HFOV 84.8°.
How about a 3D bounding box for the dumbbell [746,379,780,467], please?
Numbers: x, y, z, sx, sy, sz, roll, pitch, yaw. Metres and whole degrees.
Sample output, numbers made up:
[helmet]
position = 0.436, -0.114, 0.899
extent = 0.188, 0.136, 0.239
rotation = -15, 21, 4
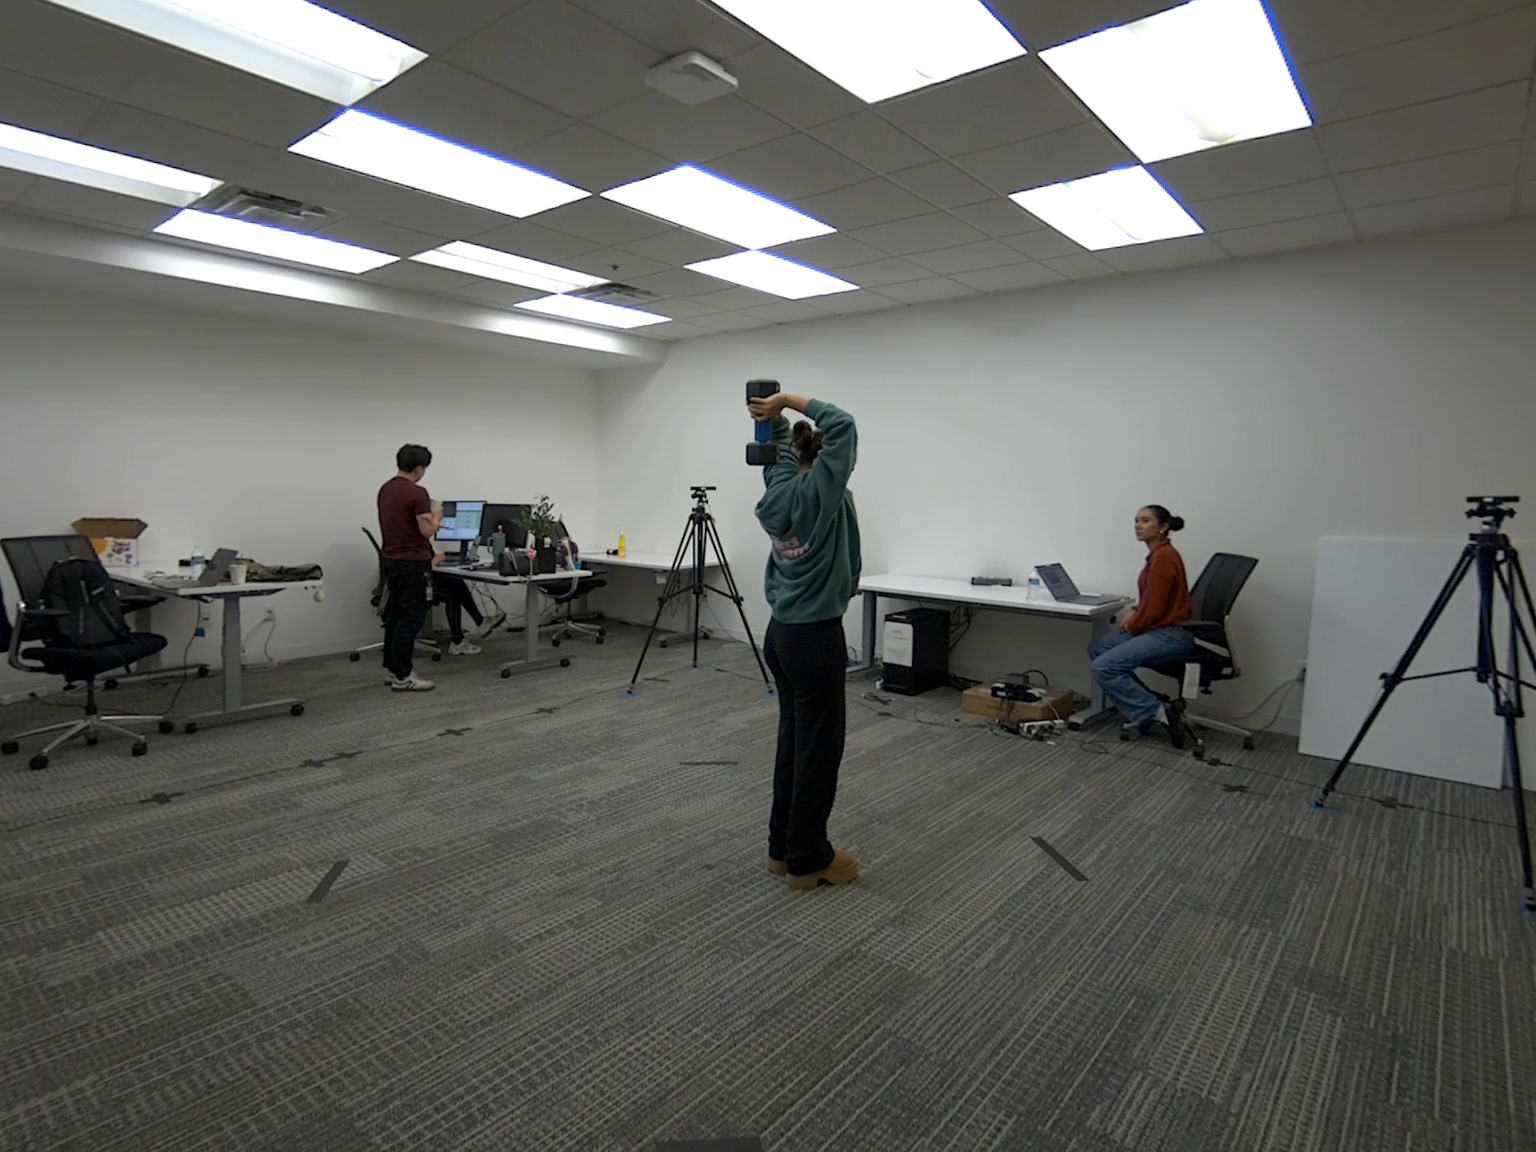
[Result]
[dumbbell]
position = -0.020, -0.531, 2.940
extent = 0.120, 0.292, 0.111
rotation = -1, 4, -20
